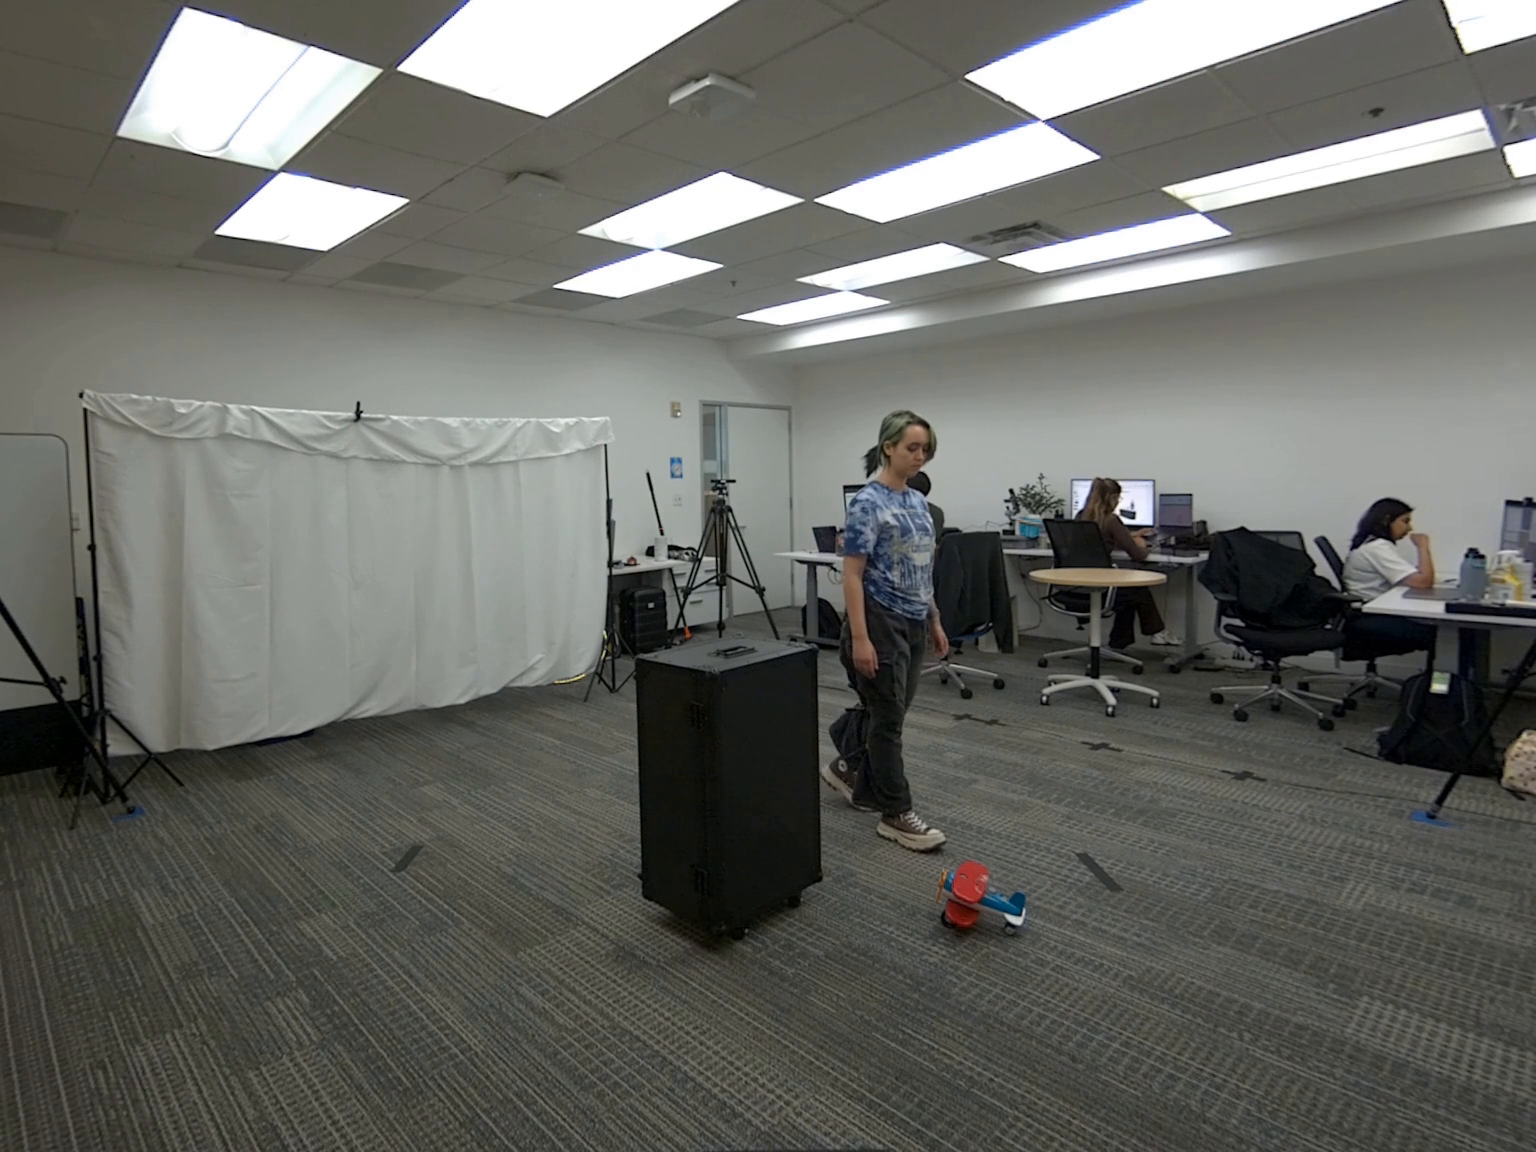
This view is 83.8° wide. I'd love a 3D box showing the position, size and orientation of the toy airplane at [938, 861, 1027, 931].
[{"bbox_3d":[0.650,1.005,2.664,0.258,0.156,0.253,-3,5,-4],"label":"toy airplane"}]
